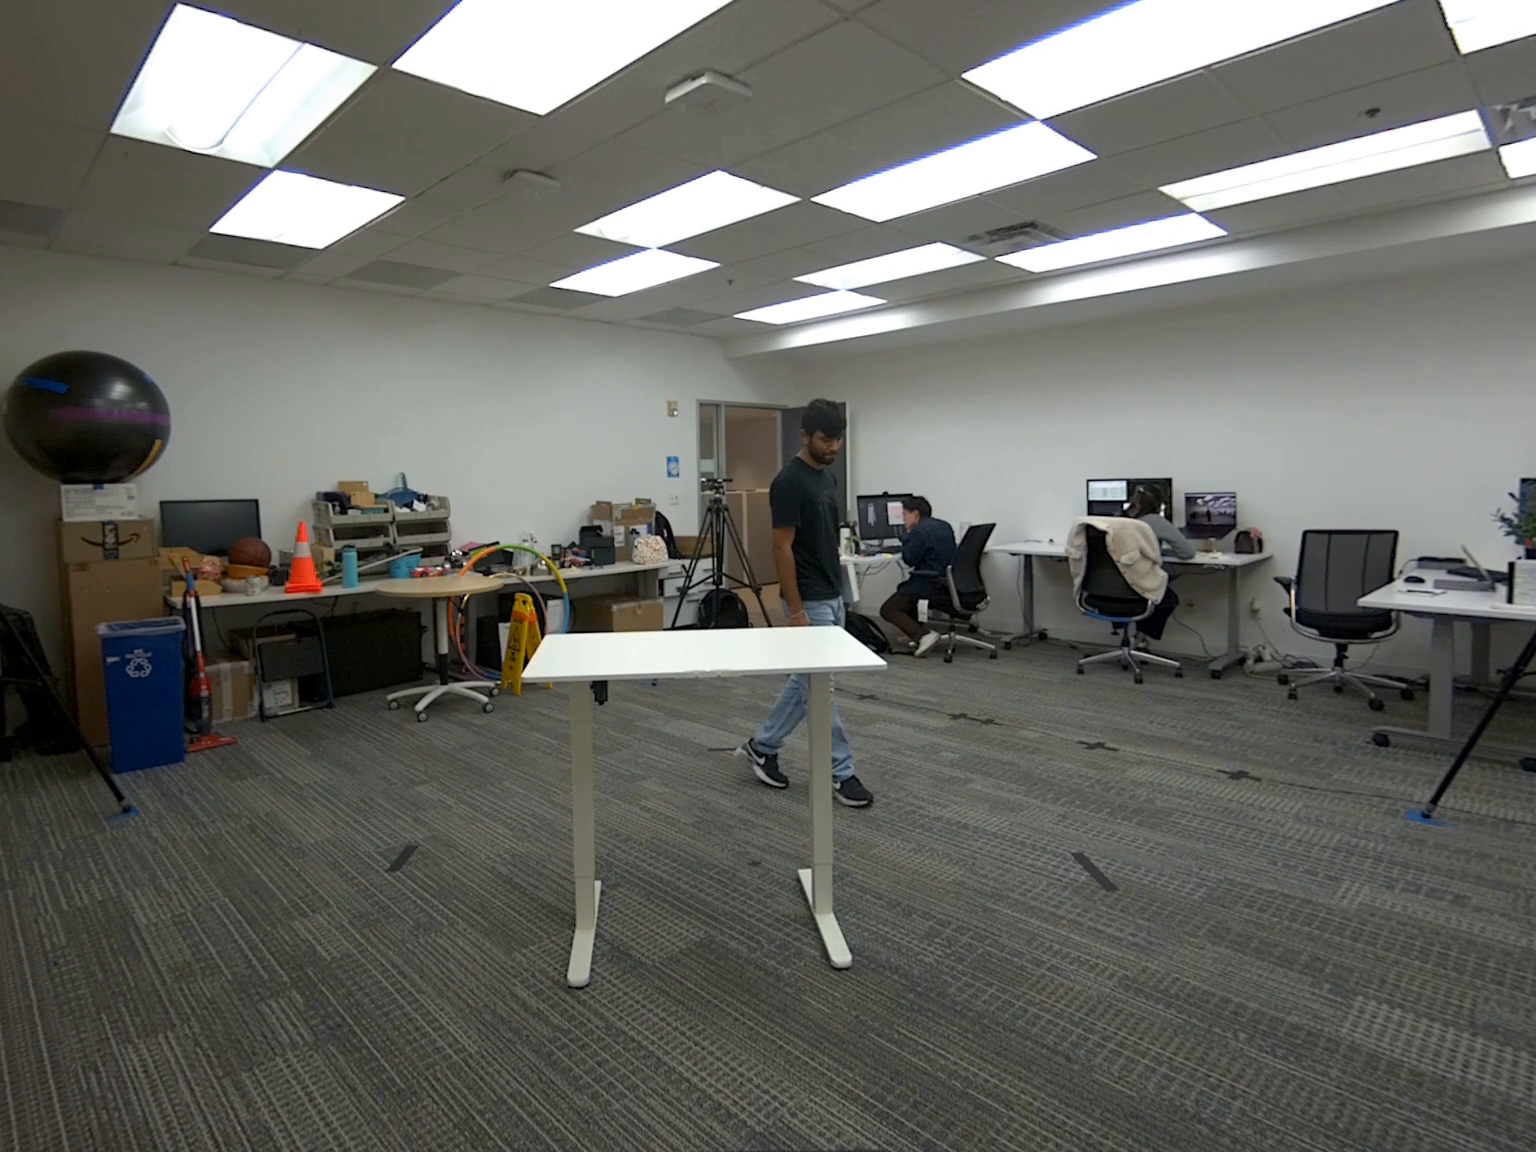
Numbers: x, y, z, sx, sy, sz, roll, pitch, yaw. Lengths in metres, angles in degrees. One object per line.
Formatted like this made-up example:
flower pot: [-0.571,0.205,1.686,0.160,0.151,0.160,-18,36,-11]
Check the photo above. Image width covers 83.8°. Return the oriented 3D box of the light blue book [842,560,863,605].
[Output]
light blue book: [0.281,0.030,3.921,0.268,0.189,0.058,-3,14,35]
